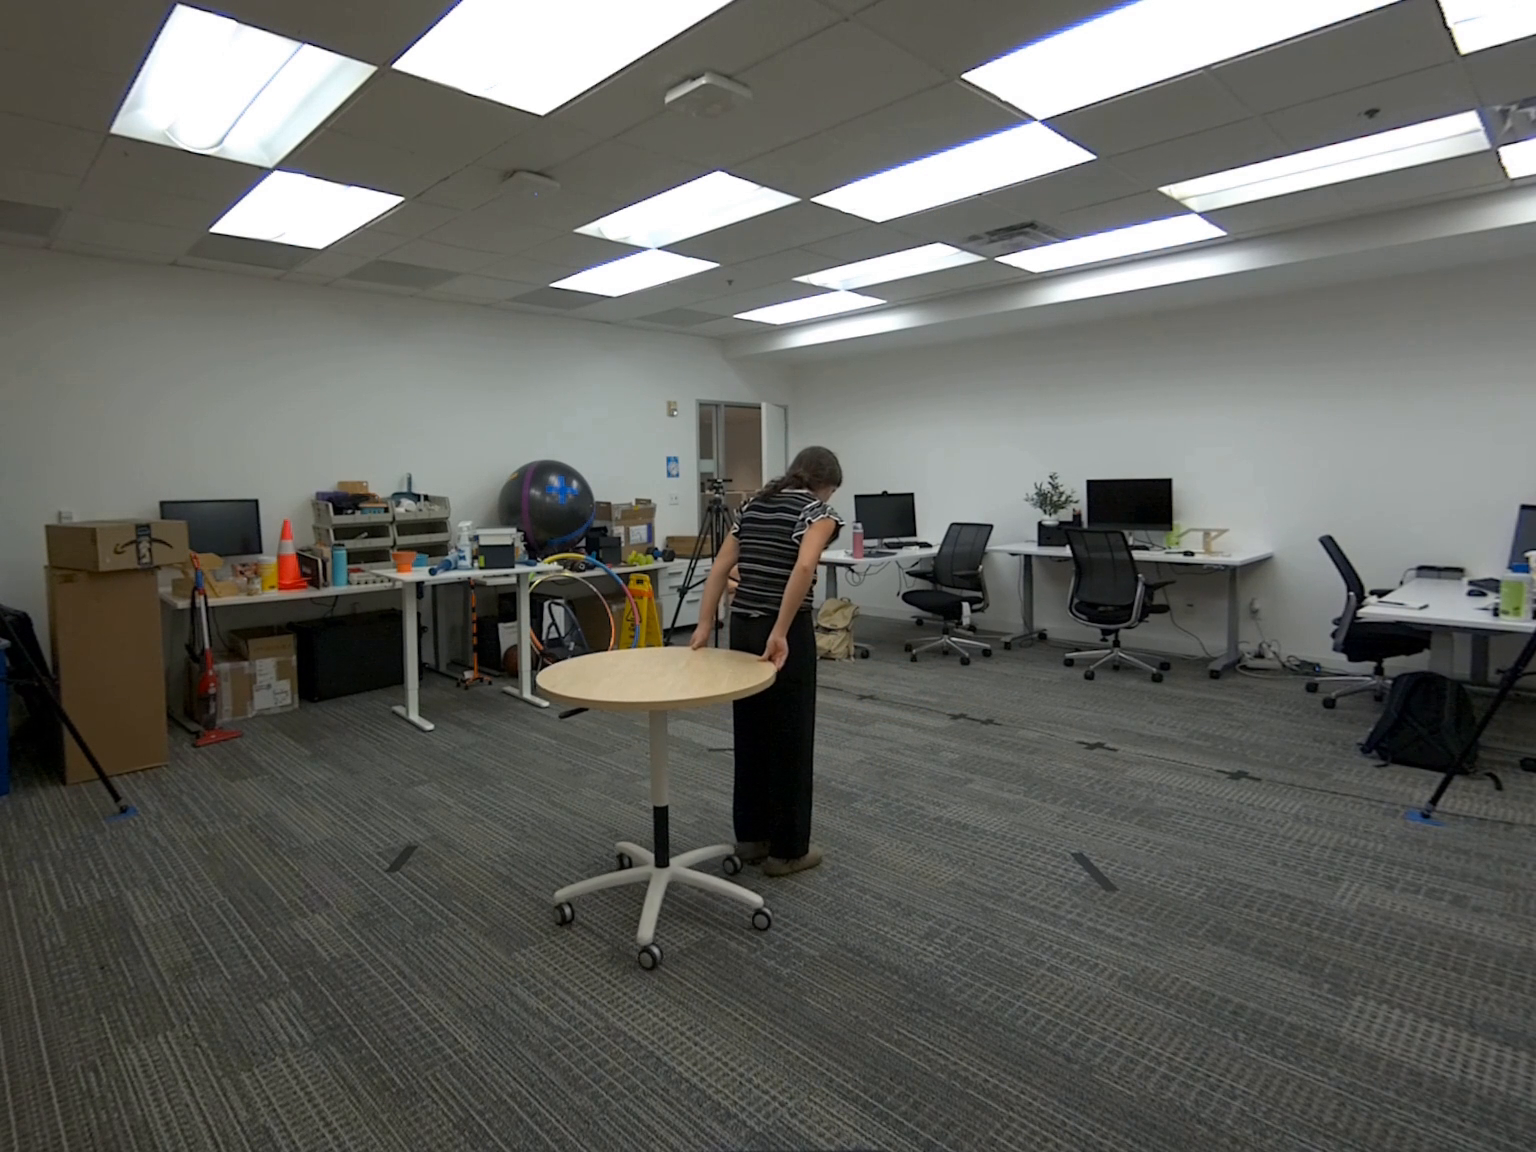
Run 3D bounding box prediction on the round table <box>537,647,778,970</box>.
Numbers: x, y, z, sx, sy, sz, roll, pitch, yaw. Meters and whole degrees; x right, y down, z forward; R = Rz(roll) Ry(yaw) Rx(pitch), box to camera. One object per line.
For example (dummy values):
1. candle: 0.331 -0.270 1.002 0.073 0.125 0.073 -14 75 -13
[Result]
1. round table: -0.336 0.690 2.783 0.784 0.783 0.789 -2 5 -2
